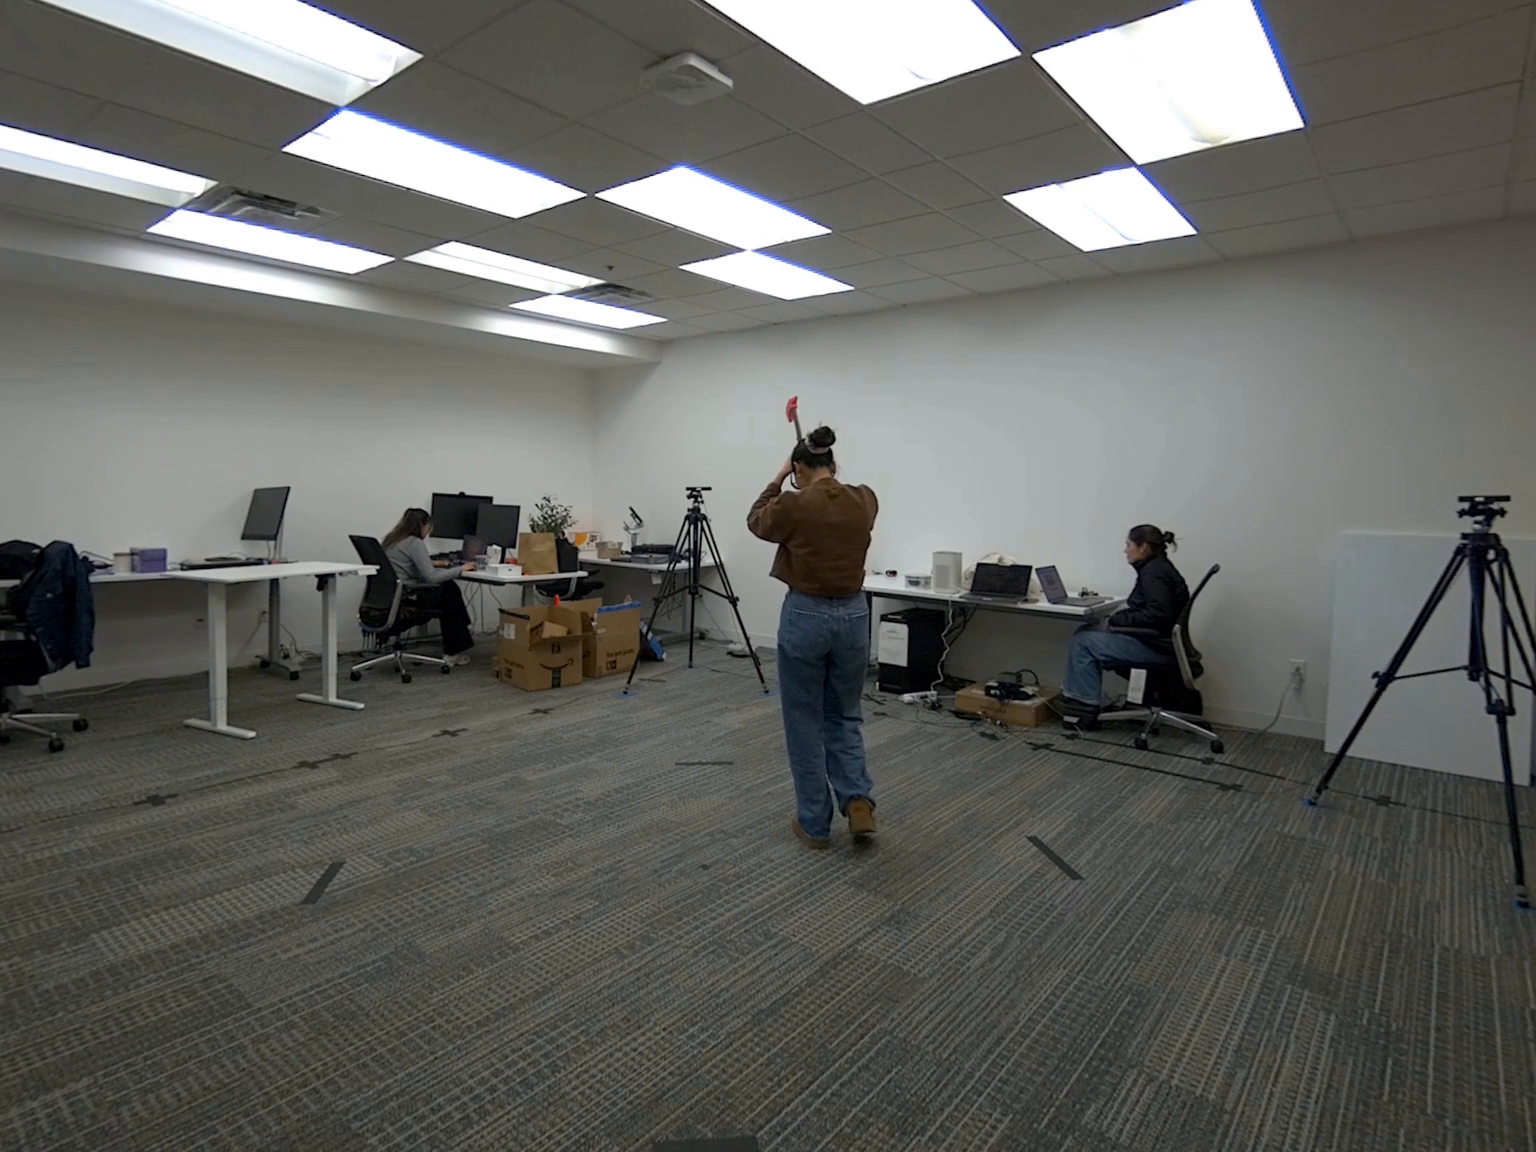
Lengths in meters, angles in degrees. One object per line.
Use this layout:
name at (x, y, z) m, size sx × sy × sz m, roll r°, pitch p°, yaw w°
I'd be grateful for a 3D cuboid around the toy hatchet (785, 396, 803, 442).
toy hatchet at (0.105, -0.632, 3.609) m, size 0.029 × 0.272 × 0.132 m, roll -4°, pitch -7°, yaw -22°
